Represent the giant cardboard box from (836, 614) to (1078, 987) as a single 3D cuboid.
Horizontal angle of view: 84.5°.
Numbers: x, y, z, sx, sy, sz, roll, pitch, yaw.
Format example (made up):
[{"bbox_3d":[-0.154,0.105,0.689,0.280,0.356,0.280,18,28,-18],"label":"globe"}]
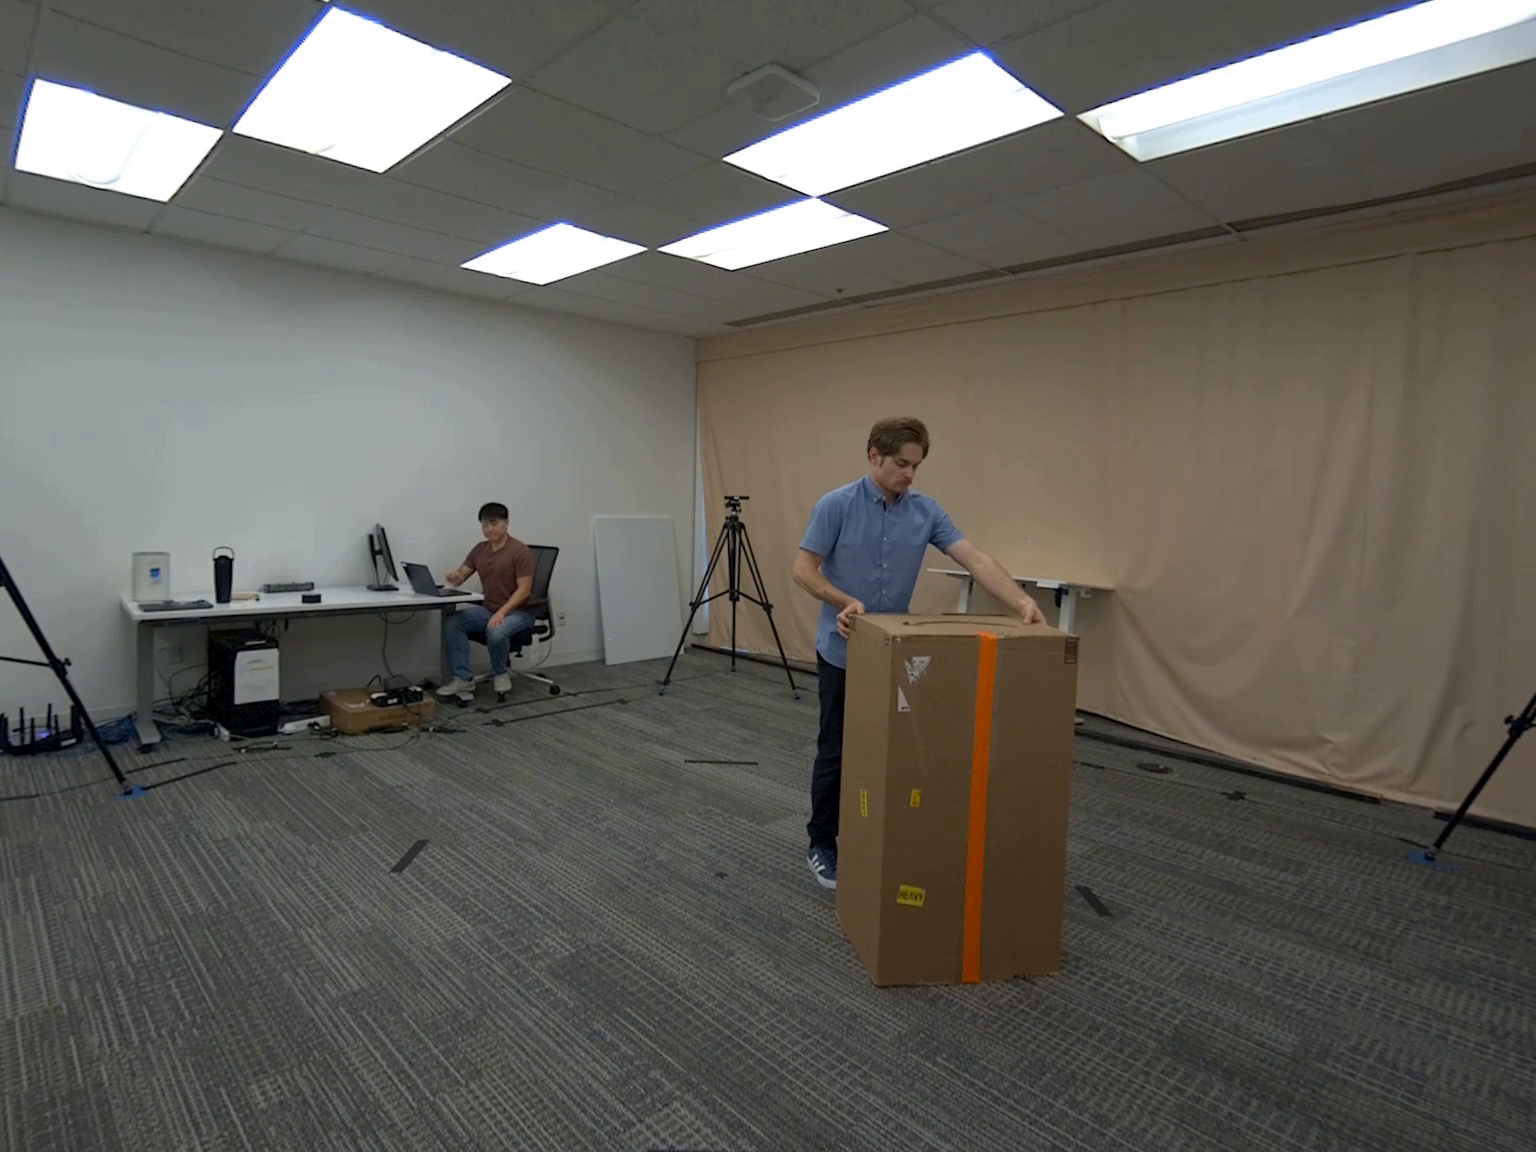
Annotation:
[{"bbox_3d":[0.567,0.660,2.627,0.573,1.023,0.431,1,4,-10],"label":"giant cardboard box"}]
